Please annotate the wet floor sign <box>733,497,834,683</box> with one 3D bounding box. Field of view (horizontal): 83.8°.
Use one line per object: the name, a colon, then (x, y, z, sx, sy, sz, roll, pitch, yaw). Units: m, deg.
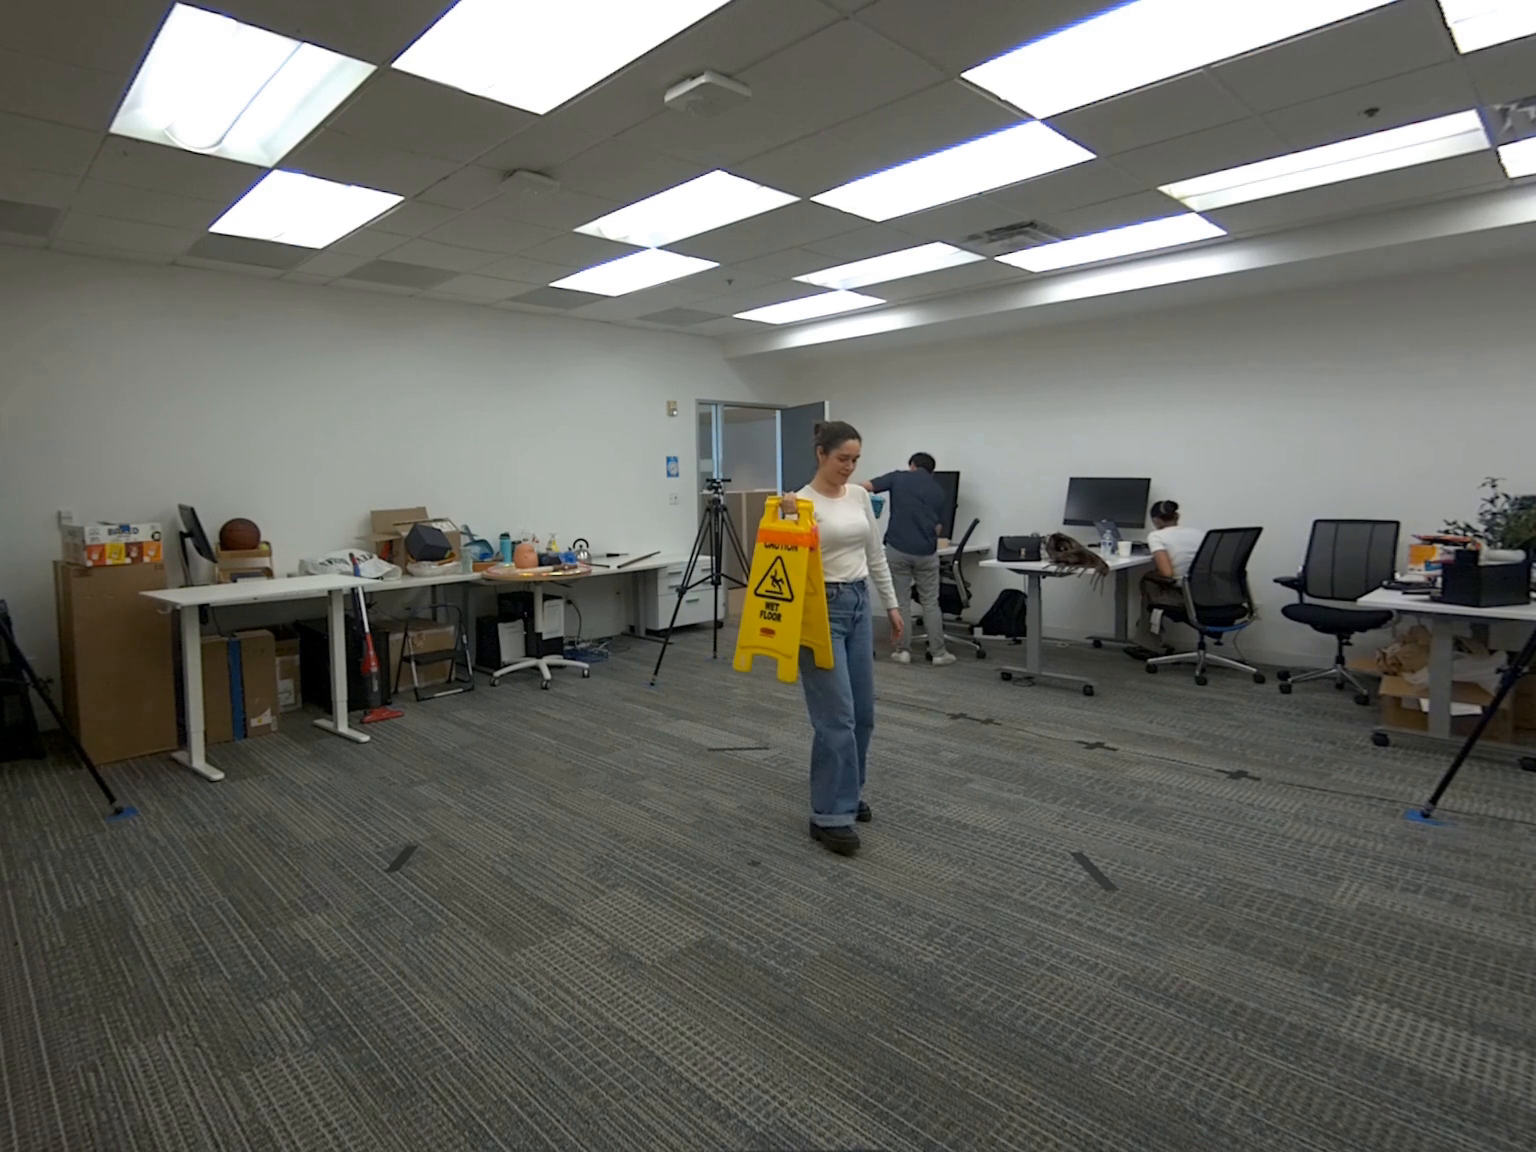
wet floor sign: (0.067, 0.032, 3.178, 0.291, 0.643, 0.282, 8, 8, 36)
